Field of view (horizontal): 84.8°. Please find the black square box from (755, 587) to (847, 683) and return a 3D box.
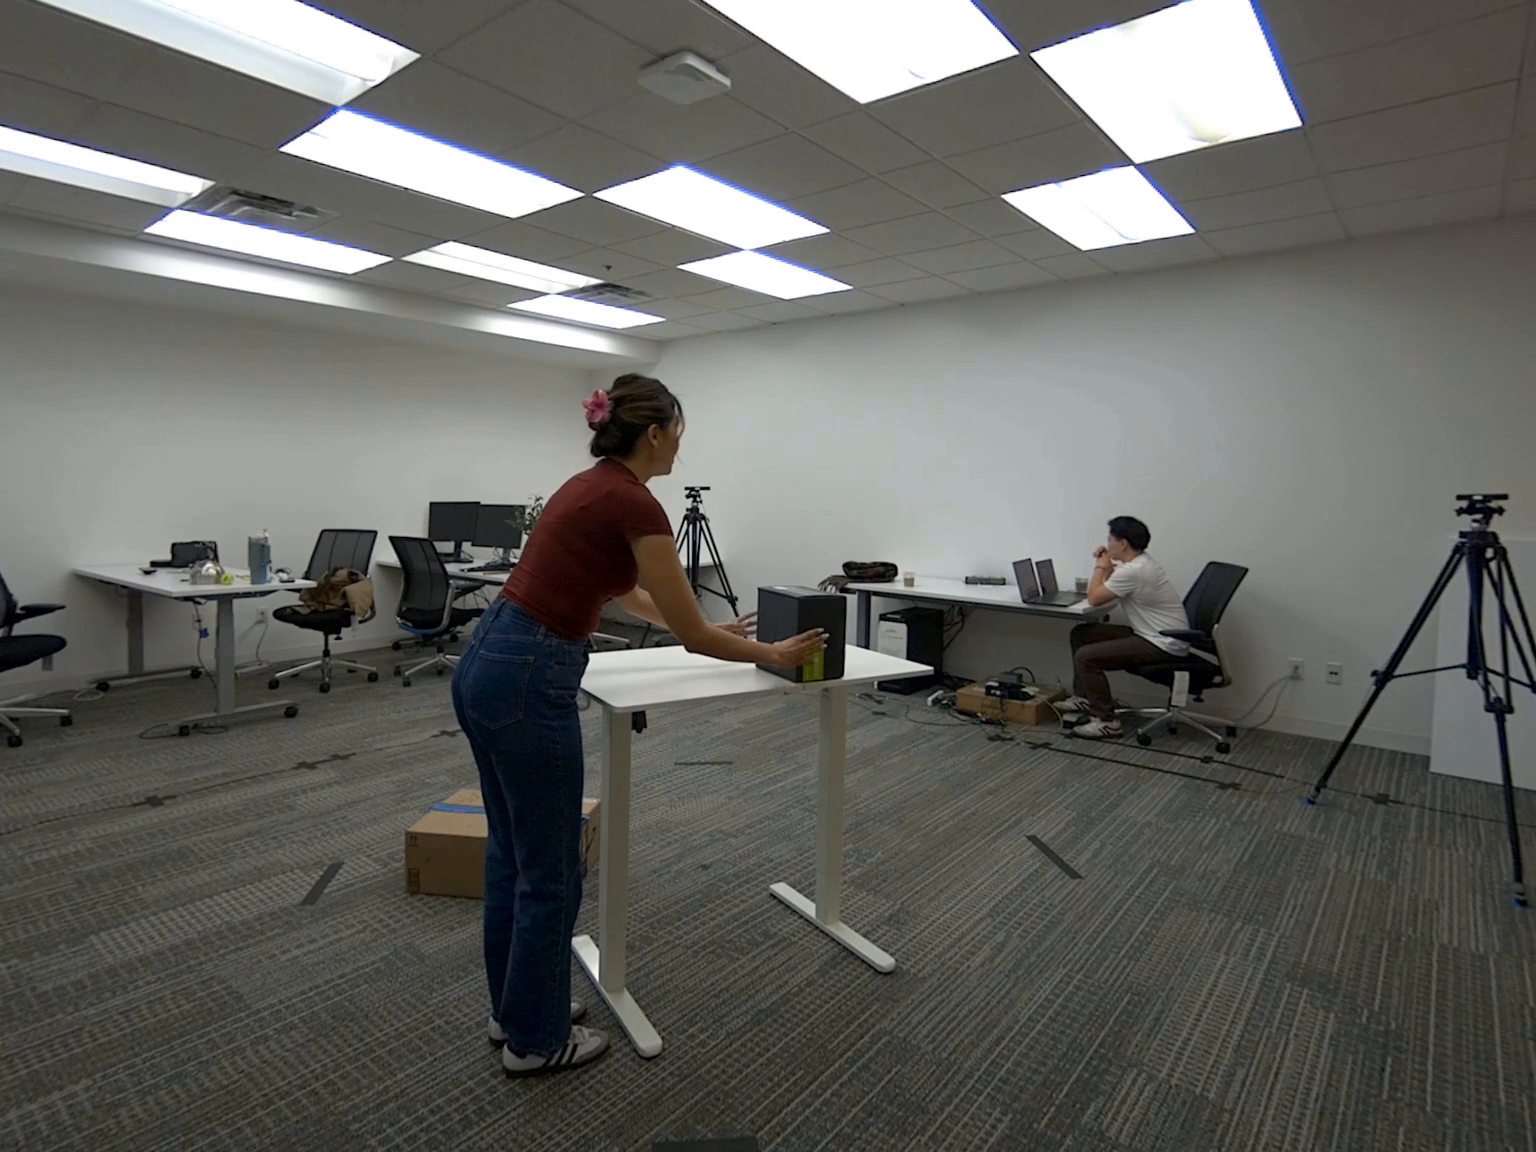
[{"bbox_3d":[0.080,0.151,2.344,0.152,0.227,0.224,-1,7,-31],"label":"black square box"}]
